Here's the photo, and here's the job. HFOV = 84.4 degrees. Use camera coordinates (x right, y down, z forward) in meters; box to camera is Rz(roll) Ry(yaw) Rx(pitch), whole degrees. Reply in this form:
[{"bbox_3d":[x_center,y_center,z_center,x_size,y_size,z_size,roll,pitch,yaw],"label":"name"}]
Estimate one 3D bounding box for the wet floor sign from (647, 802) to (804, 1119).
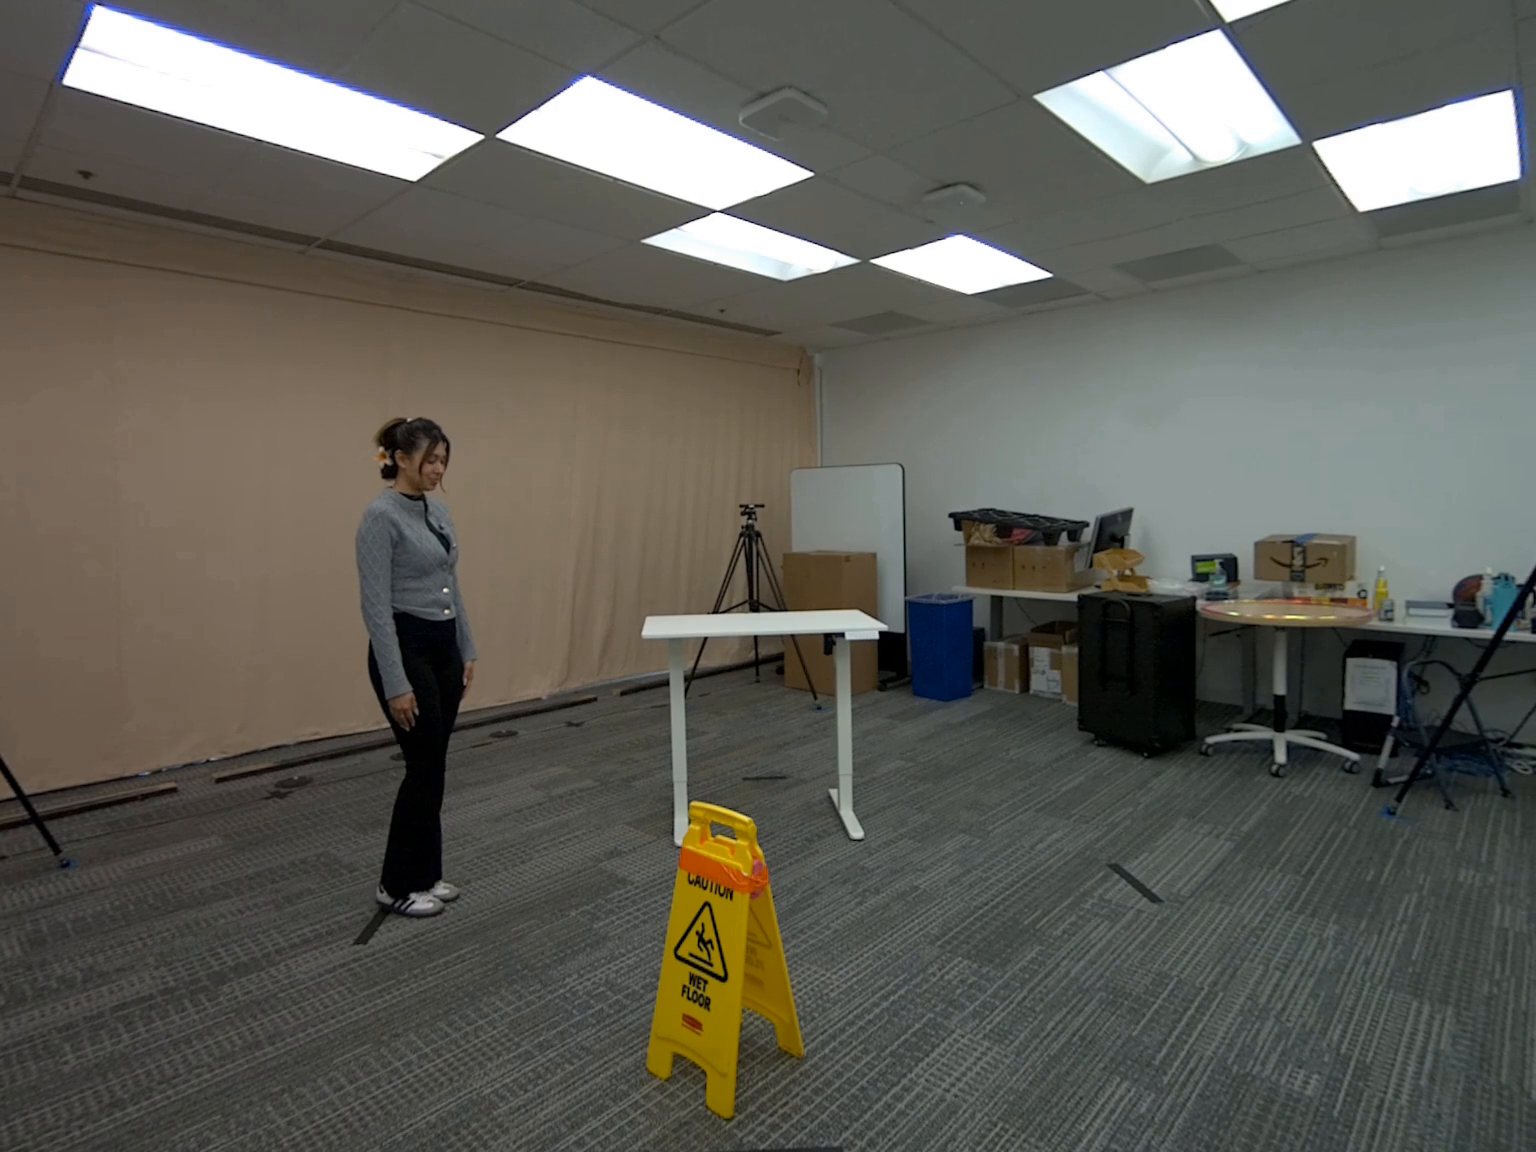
[{"bbox_3d":[-0.108,0.900,2.081,0.291,0.645,0.281,1,4,40],"label":"wet floor sign"}]
